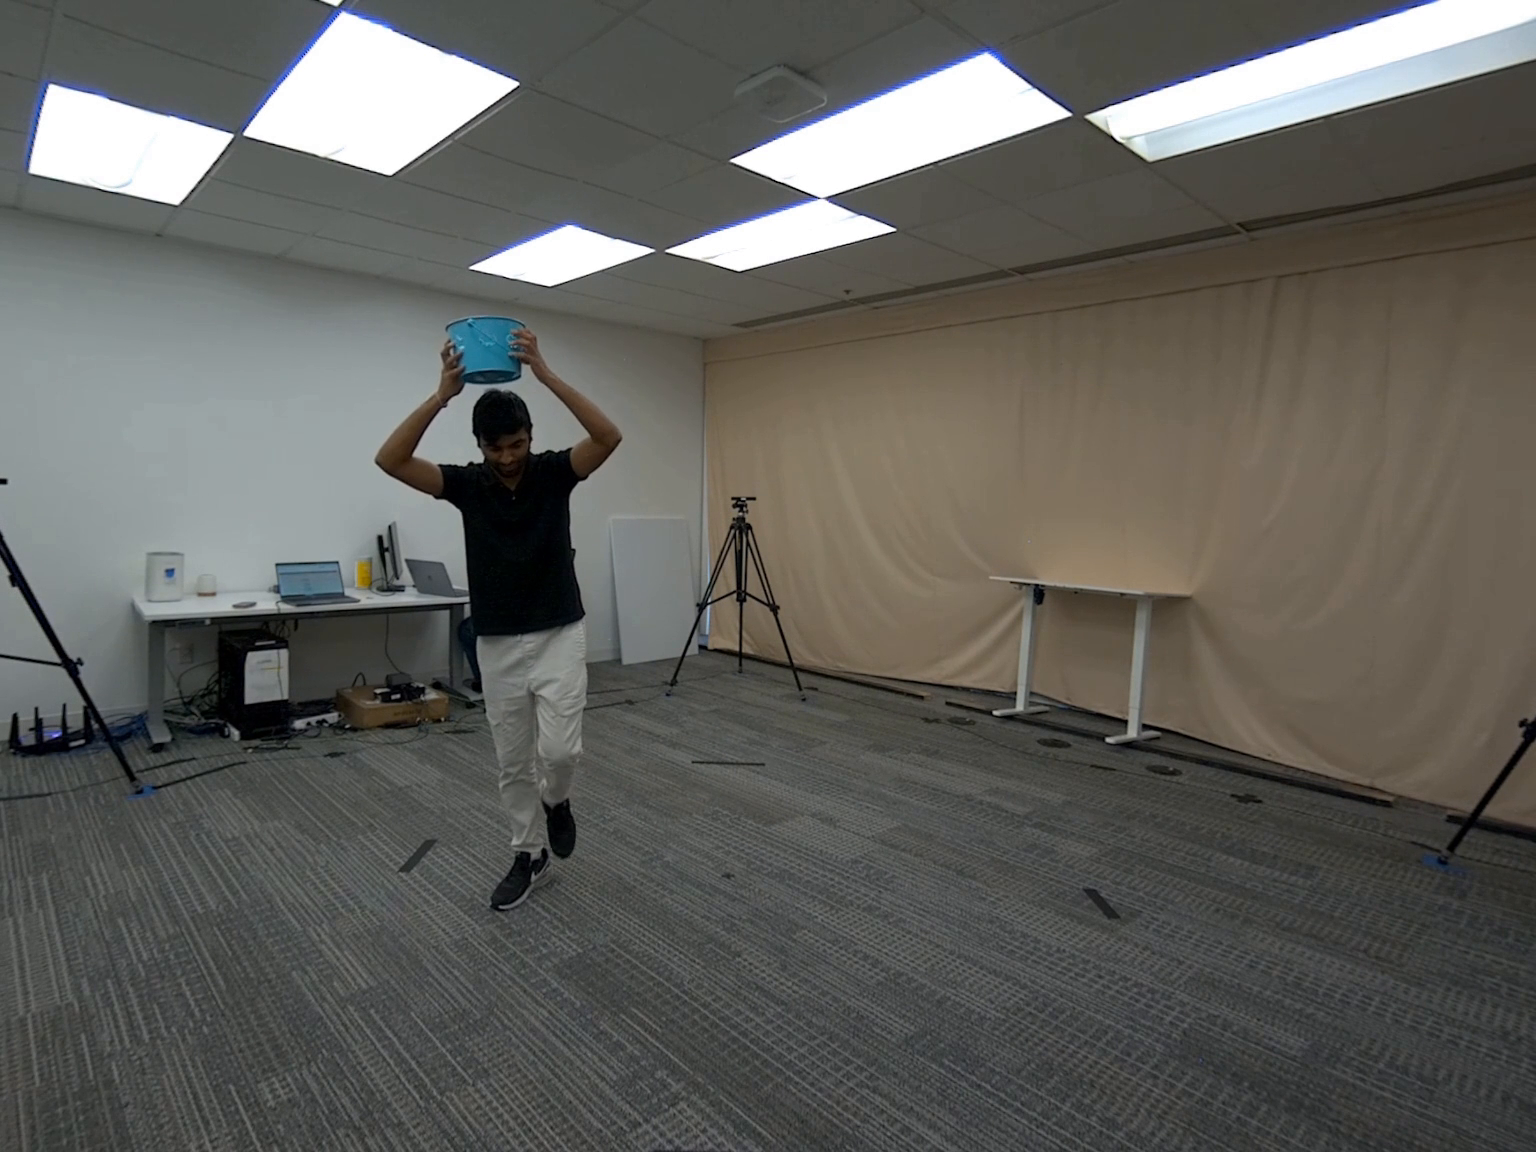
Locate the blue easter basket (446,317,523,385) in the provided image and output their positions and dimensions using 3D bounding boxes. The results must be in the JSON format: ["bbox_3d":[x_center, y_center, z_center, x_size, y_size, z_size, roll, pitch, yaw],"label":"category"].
[{"bbox_3d":[-0.851,-0.671,2.524,0.243,0.156,0.244,-6,2,-1],"label":"blue easter basket"}]
